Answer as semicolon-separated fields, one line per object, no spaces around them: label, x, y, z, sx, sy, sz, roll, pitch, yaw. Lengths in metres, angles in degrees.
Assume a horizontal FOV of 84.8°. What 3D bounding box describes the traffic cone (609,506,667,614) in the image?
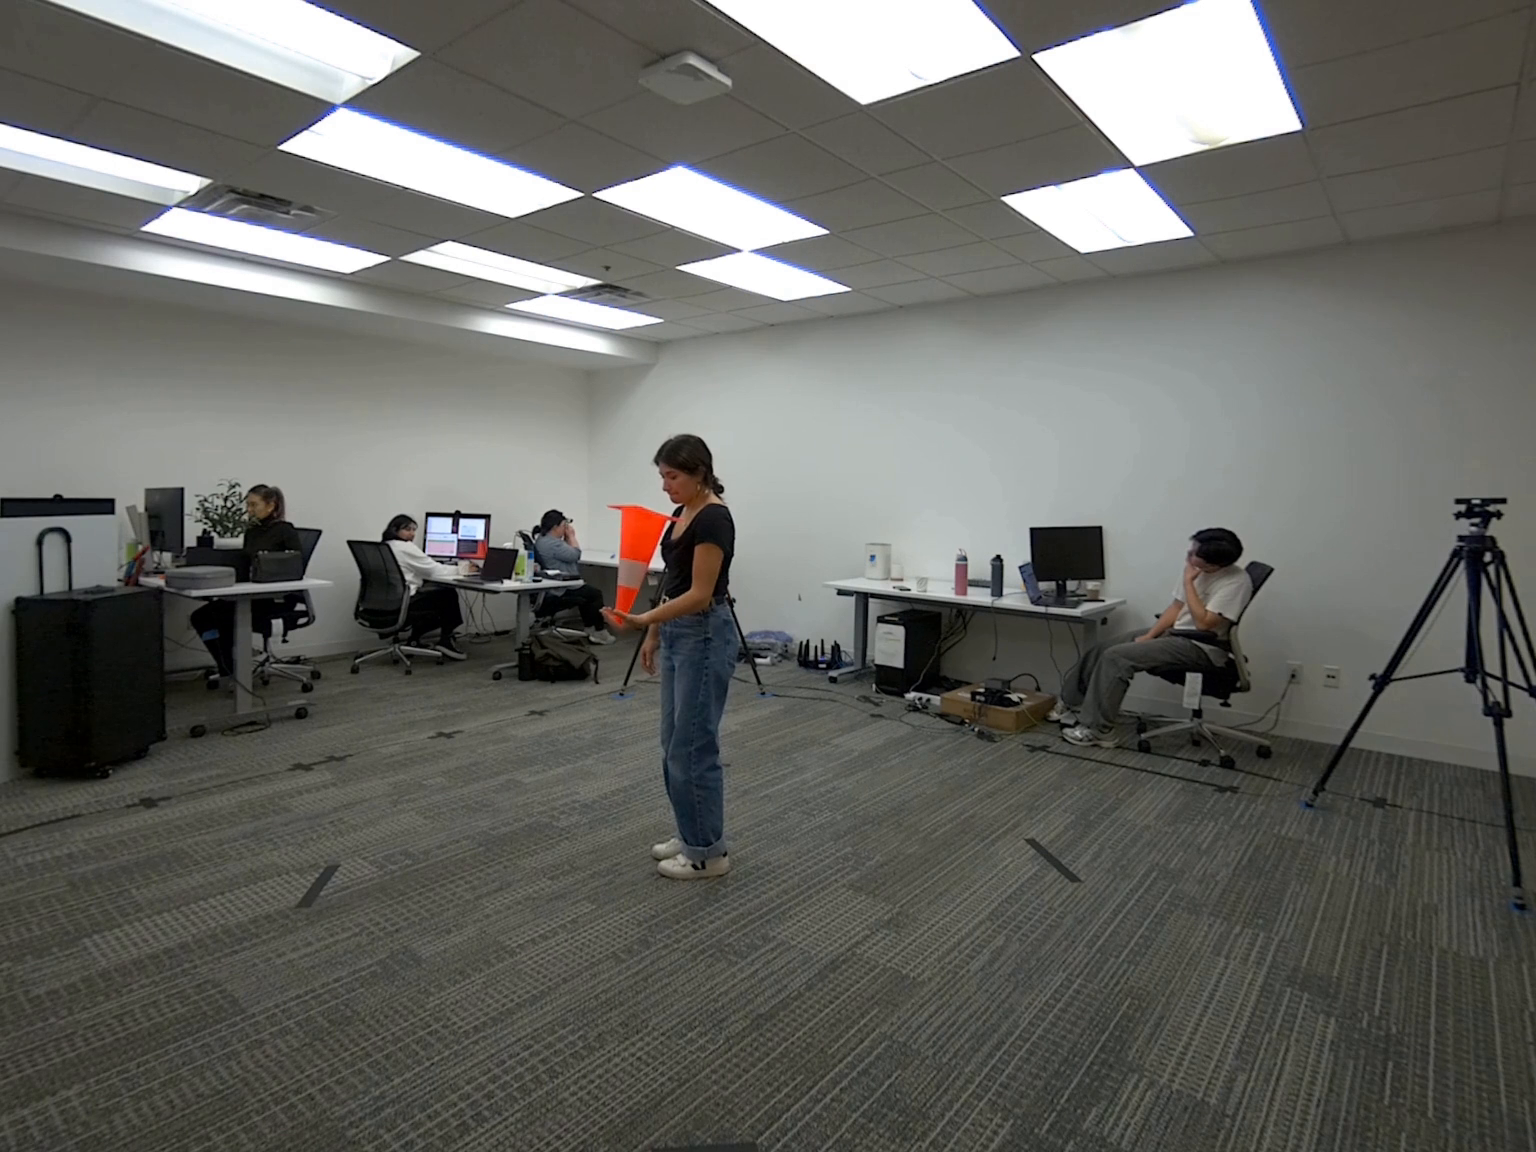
traffic cone;-0.450;-0.023;2.851;0.196;0.385;0.211;15;-6;-35
